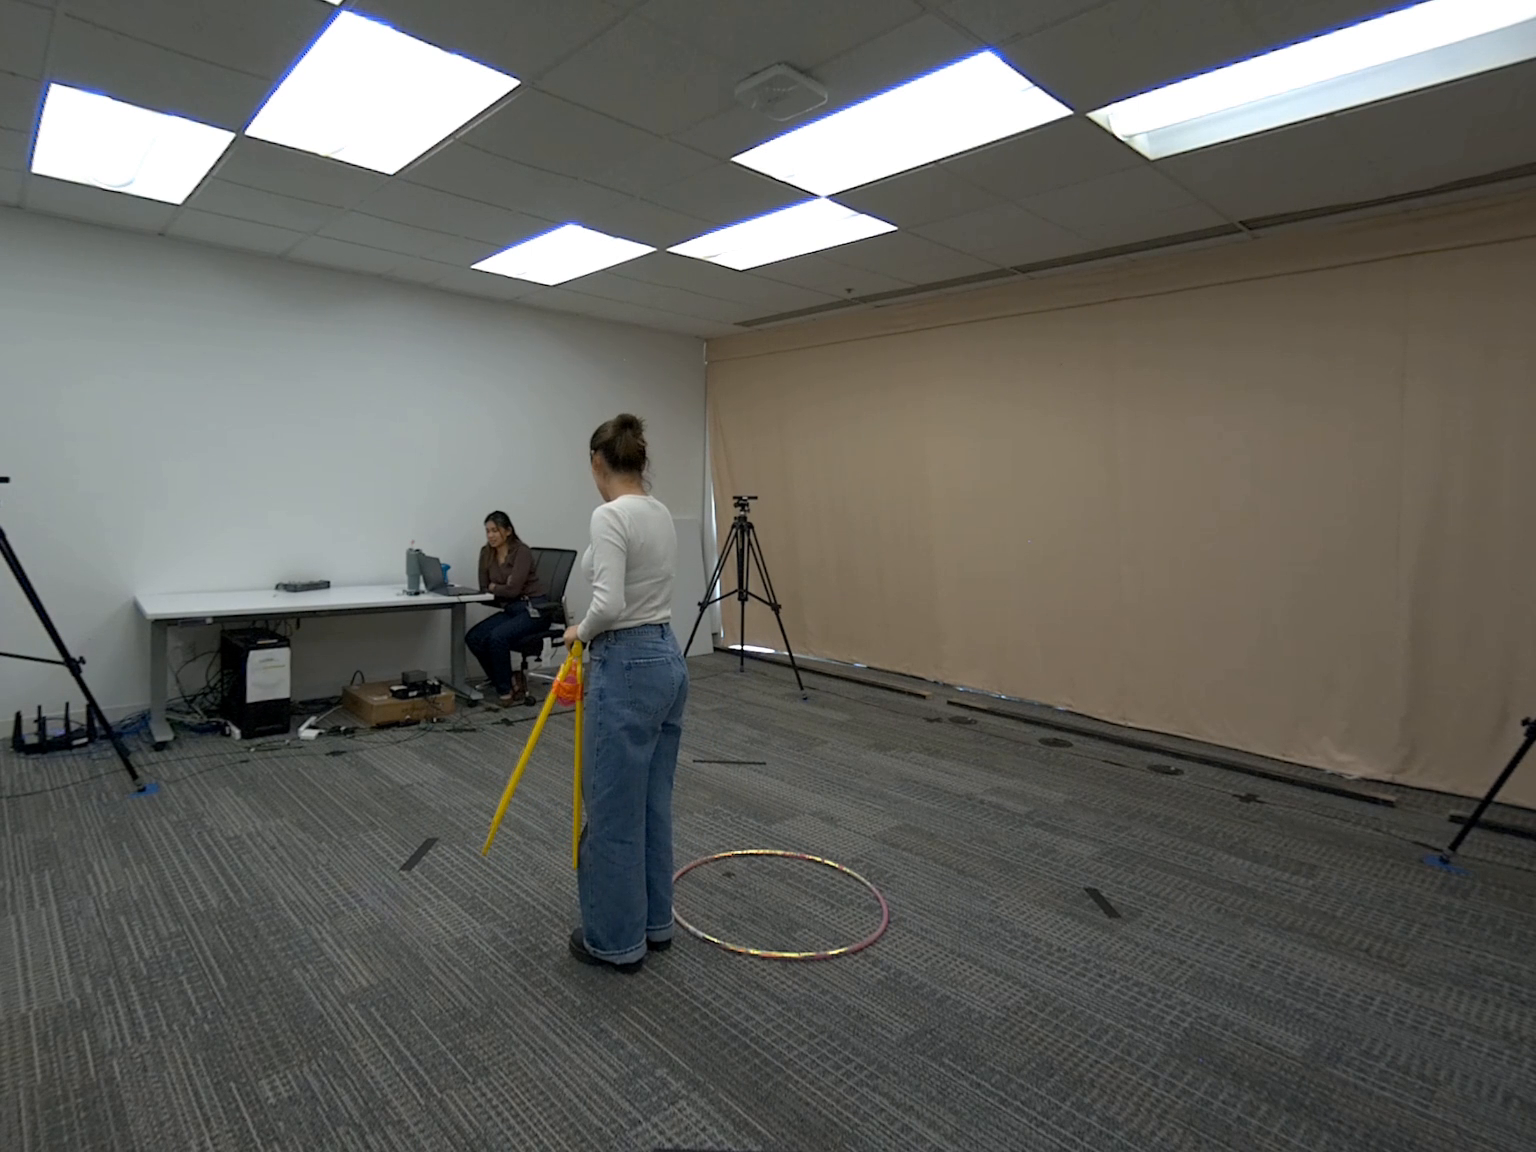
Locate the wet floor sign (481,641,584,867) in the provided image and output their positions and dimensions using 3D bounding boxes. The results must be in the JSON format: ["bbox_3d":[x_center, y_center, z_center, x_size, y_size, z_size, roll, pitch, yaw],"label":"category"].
[{"bbox_3d":[-0.649,0.506,2.550,0.287,0.647,0.284,13,-3,-11],"label":"wet floor sign"}]
